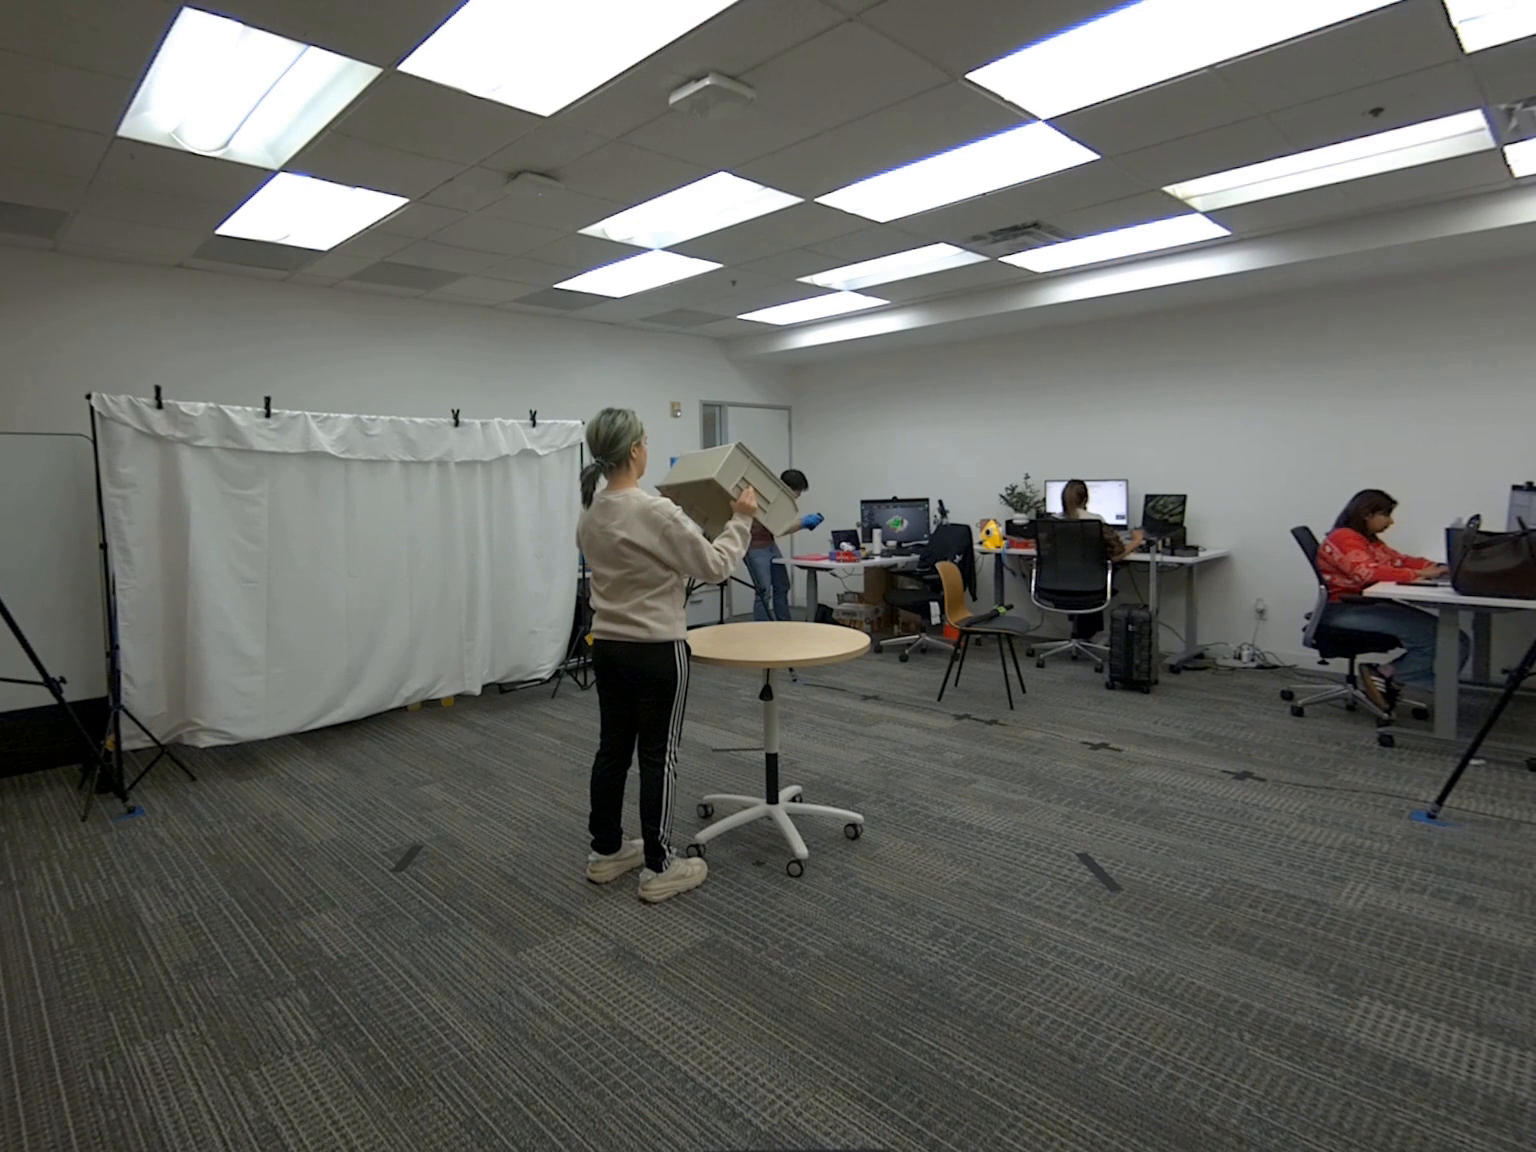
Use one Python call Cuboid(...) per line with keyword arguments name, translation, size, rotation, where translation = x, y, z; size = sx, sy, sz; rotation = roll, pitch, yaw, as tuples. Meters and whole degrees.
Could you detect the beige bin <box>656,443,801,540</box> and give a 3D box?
Cuboid(name="beige bin", translation=(-0.143, -0.299, 3.195), size=(0.366, 0.190, 0.433), rotation=(43, -22, -27))
